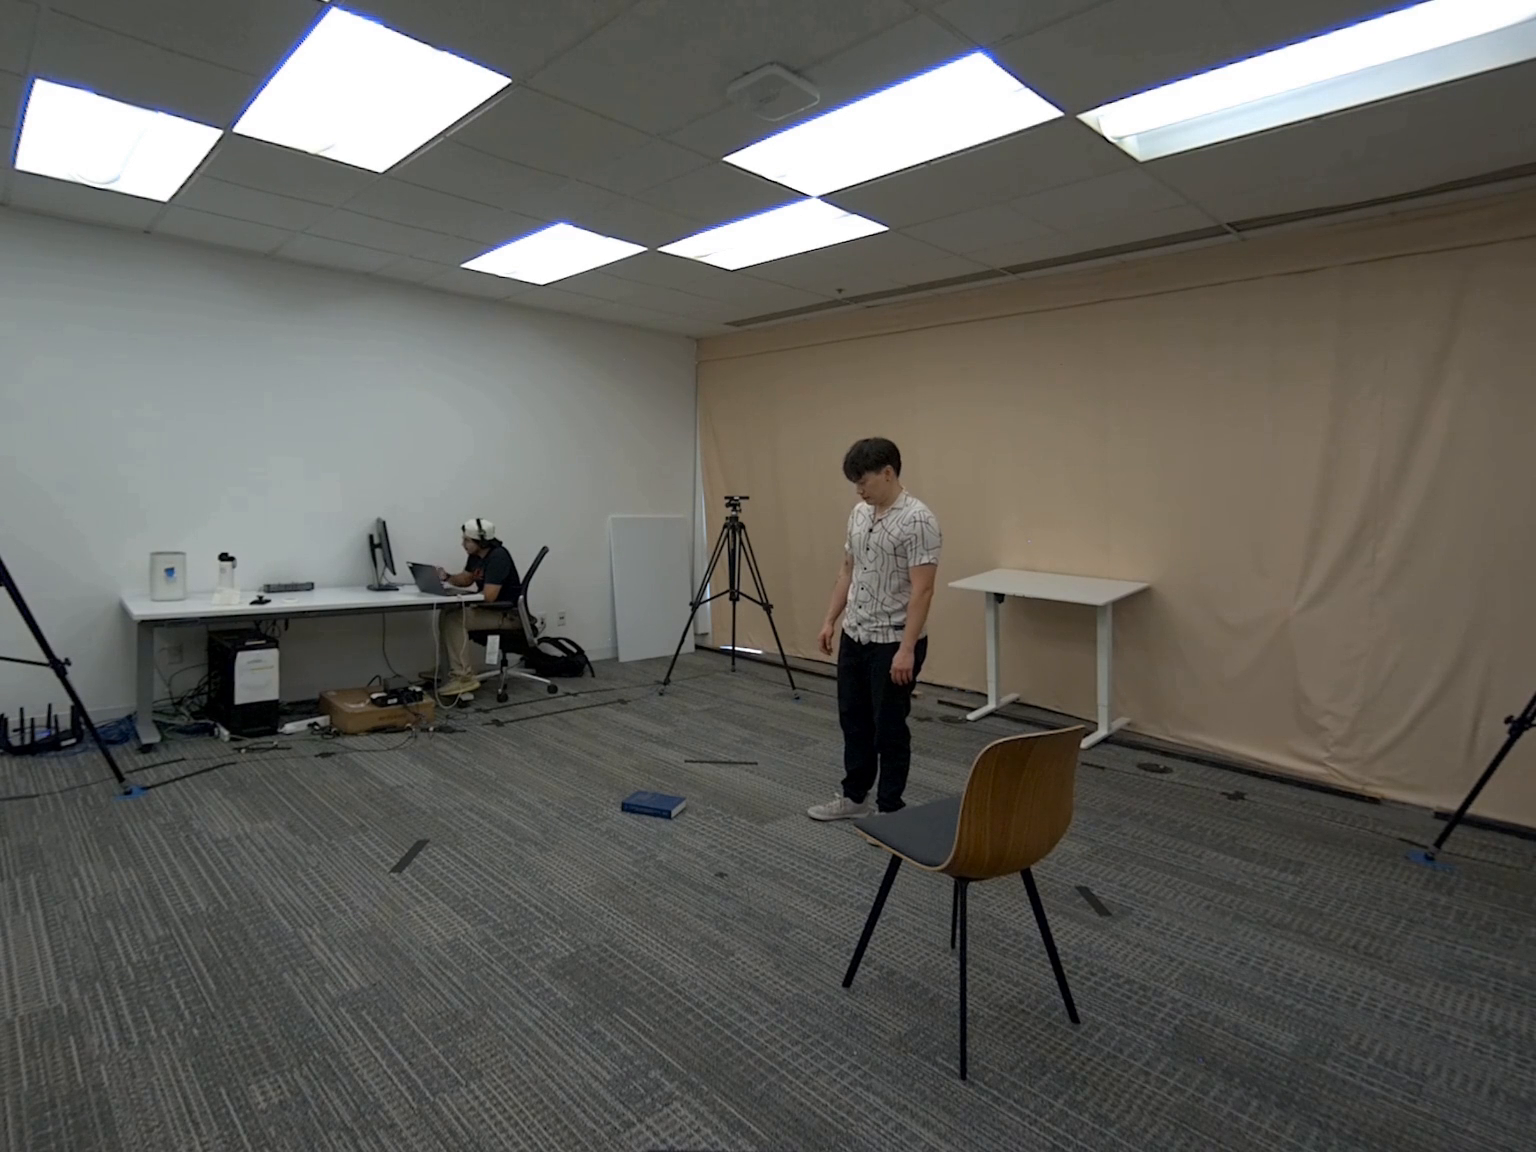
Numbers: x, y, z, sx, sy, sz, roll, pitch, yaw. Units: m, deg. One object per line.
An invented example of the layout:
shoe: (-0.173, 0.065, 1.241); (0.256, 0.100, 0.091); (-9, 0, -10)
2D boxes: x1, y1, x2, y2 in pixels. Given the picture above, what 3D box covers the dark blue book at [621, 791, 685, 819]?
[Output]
dark blue book: (-0.511, 1.008, 3.742); (0.249, 0.045, 0.161); (3, 4, 20)
